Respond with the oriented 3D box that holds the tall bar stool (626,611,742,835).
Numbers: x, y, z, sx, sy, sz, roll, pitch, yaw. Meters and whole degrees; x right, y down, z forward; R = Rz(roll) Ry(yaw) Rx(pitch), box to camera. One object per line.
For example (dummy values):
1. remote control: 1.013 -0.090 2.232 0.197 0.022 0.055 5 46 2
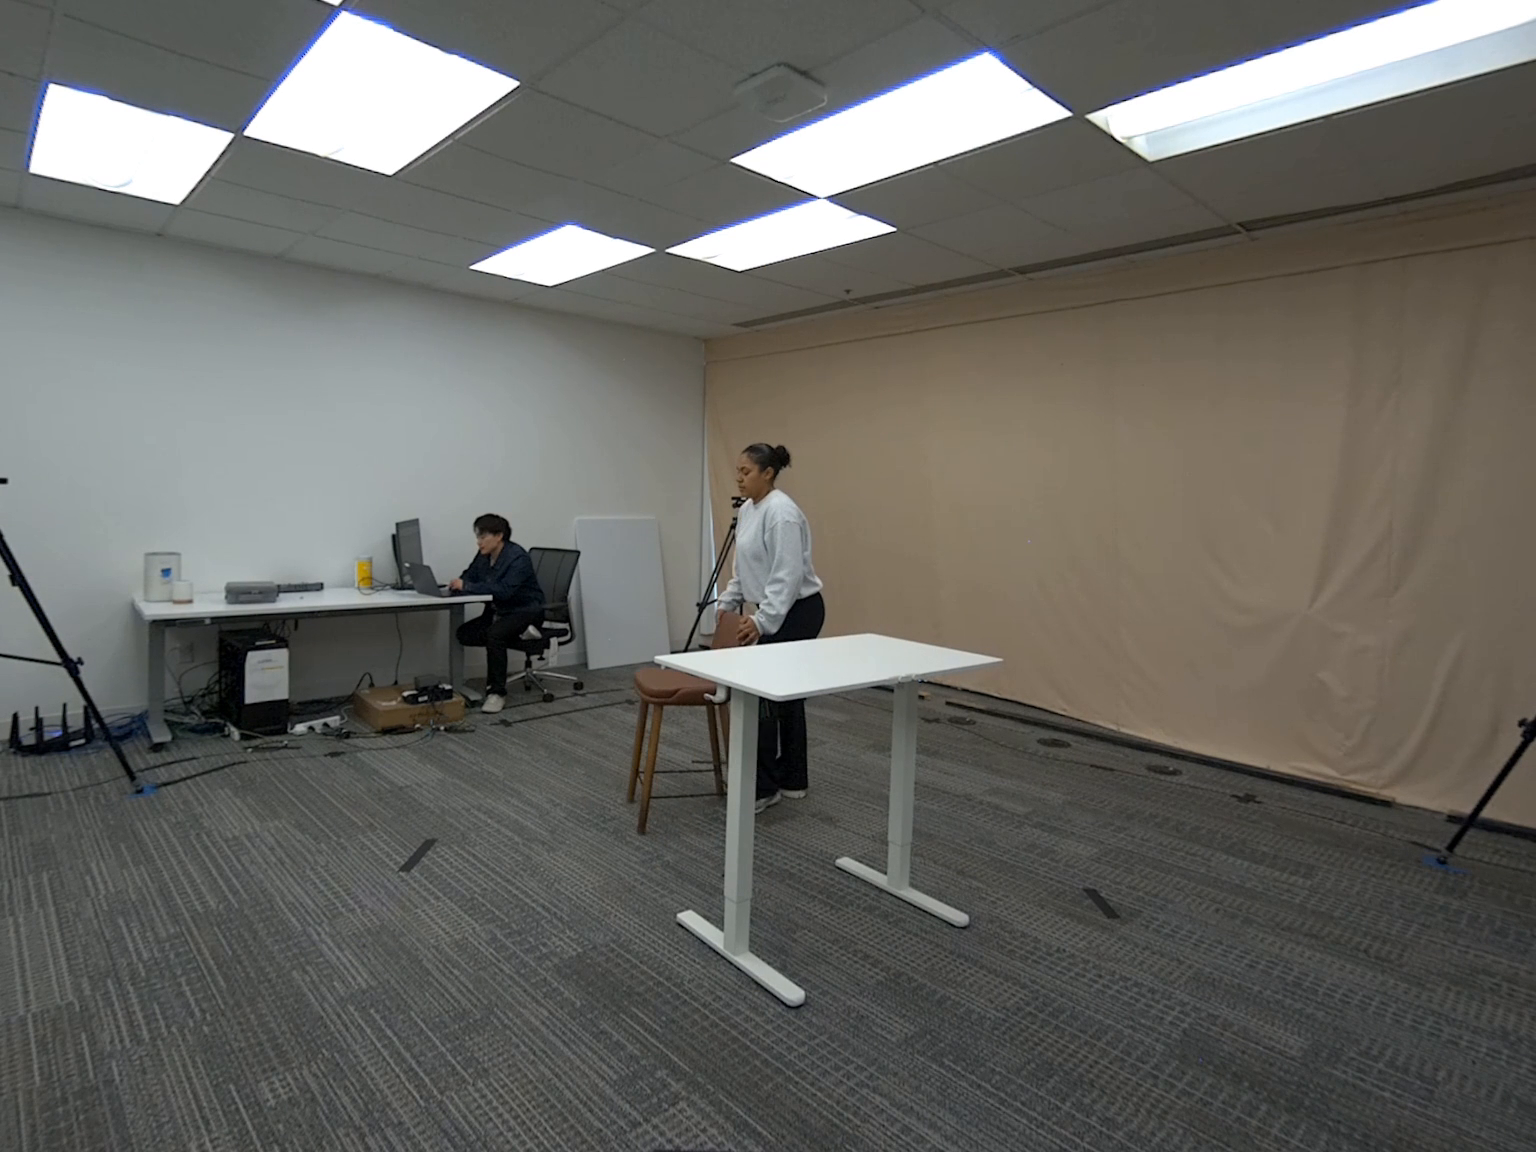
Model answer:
1. tall bar stool: -0.363 0.612 3.678 0.462 0.888 0.463 3 3 -15
